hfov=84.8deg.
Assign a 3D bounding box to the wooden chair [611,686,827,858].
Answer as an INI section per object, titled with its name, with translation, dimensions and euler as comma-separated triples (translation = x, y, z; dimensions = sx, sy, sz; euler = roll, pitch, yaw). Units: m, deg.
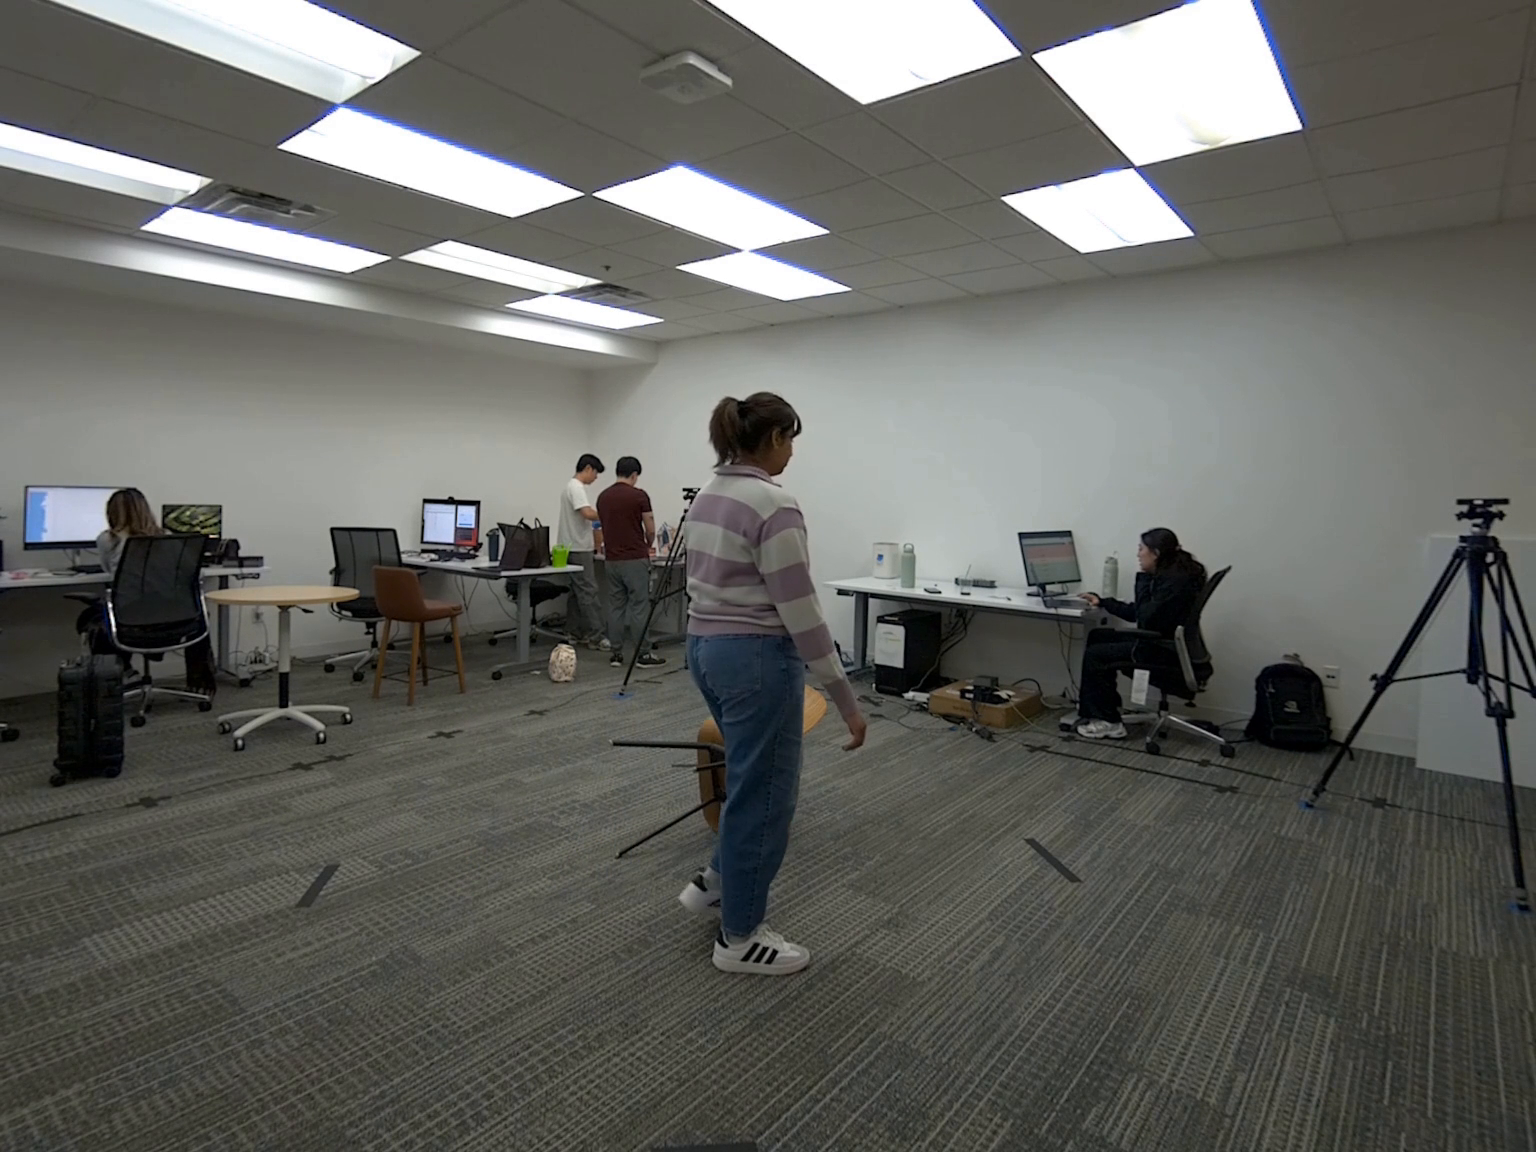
[wooden chair]
translation = -0.144, 0.792, 3.325
dimensions = 0.494, 0.518, 0.857
euler = 3, 14, 41
